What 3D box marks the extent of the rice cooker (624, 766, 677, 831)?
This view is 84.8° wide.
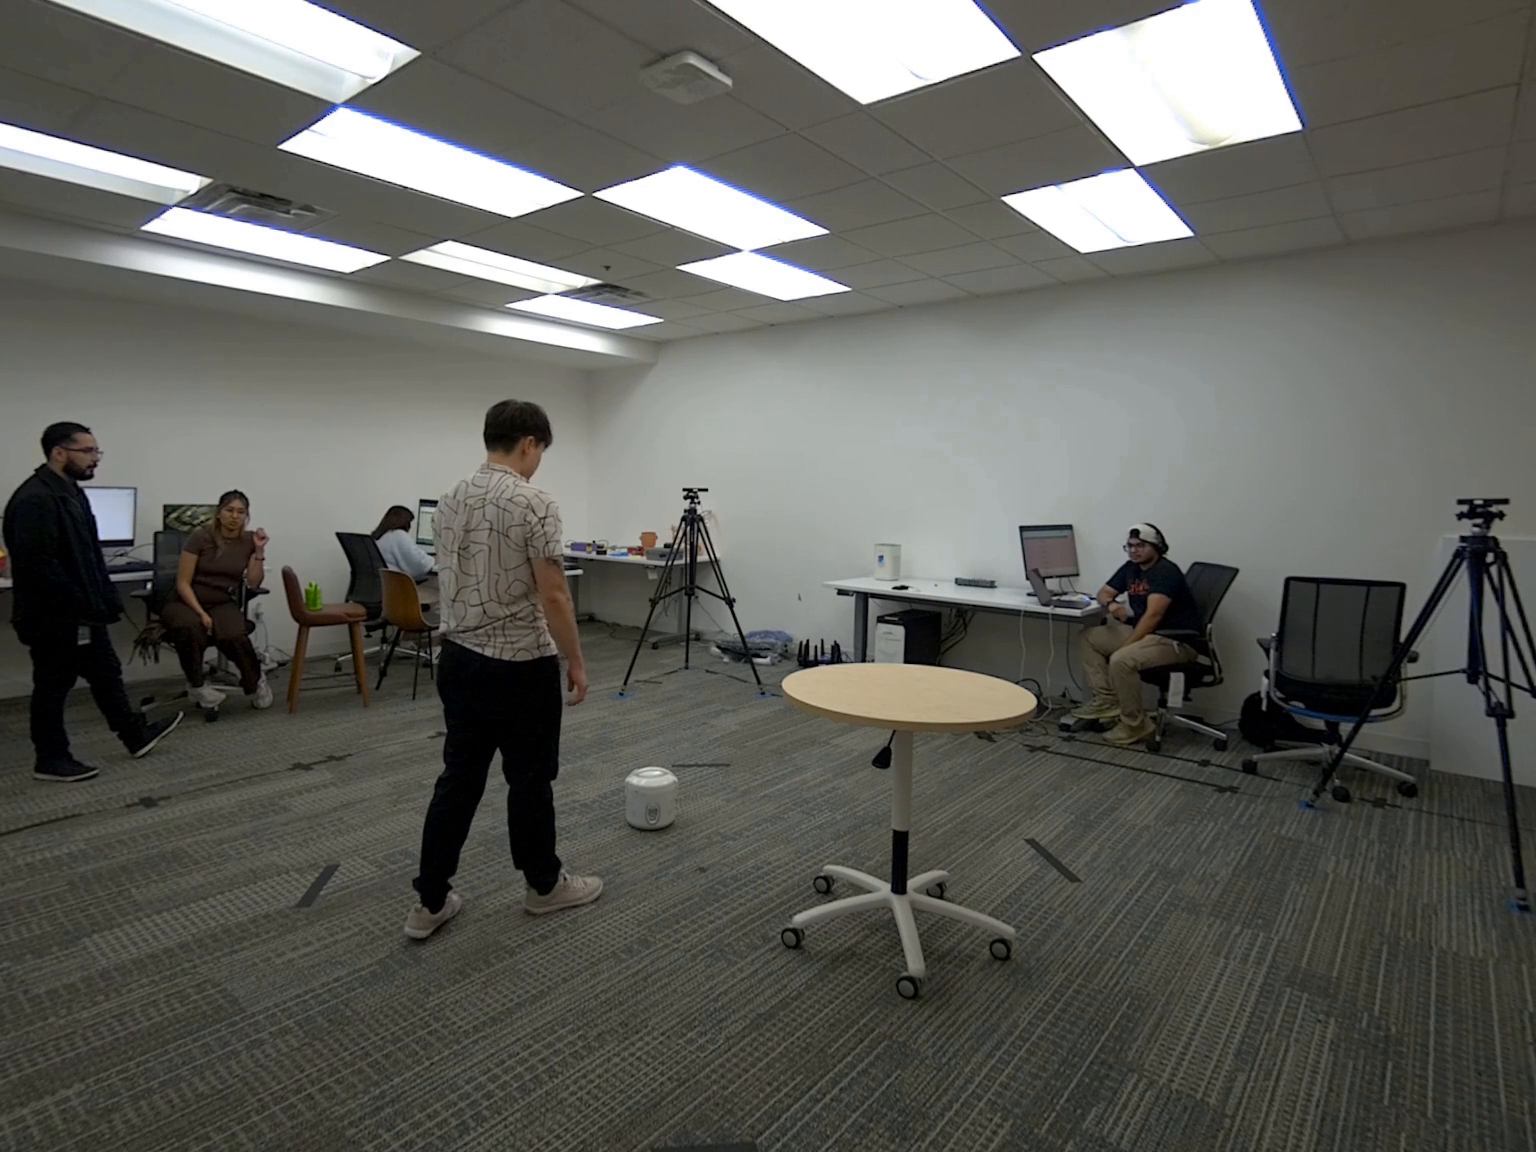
[{"bbox_3d":[-0.494,0.905,3.529,0.218,0.232,0.220,0,4,-10],"label":"rice cooker"}]
